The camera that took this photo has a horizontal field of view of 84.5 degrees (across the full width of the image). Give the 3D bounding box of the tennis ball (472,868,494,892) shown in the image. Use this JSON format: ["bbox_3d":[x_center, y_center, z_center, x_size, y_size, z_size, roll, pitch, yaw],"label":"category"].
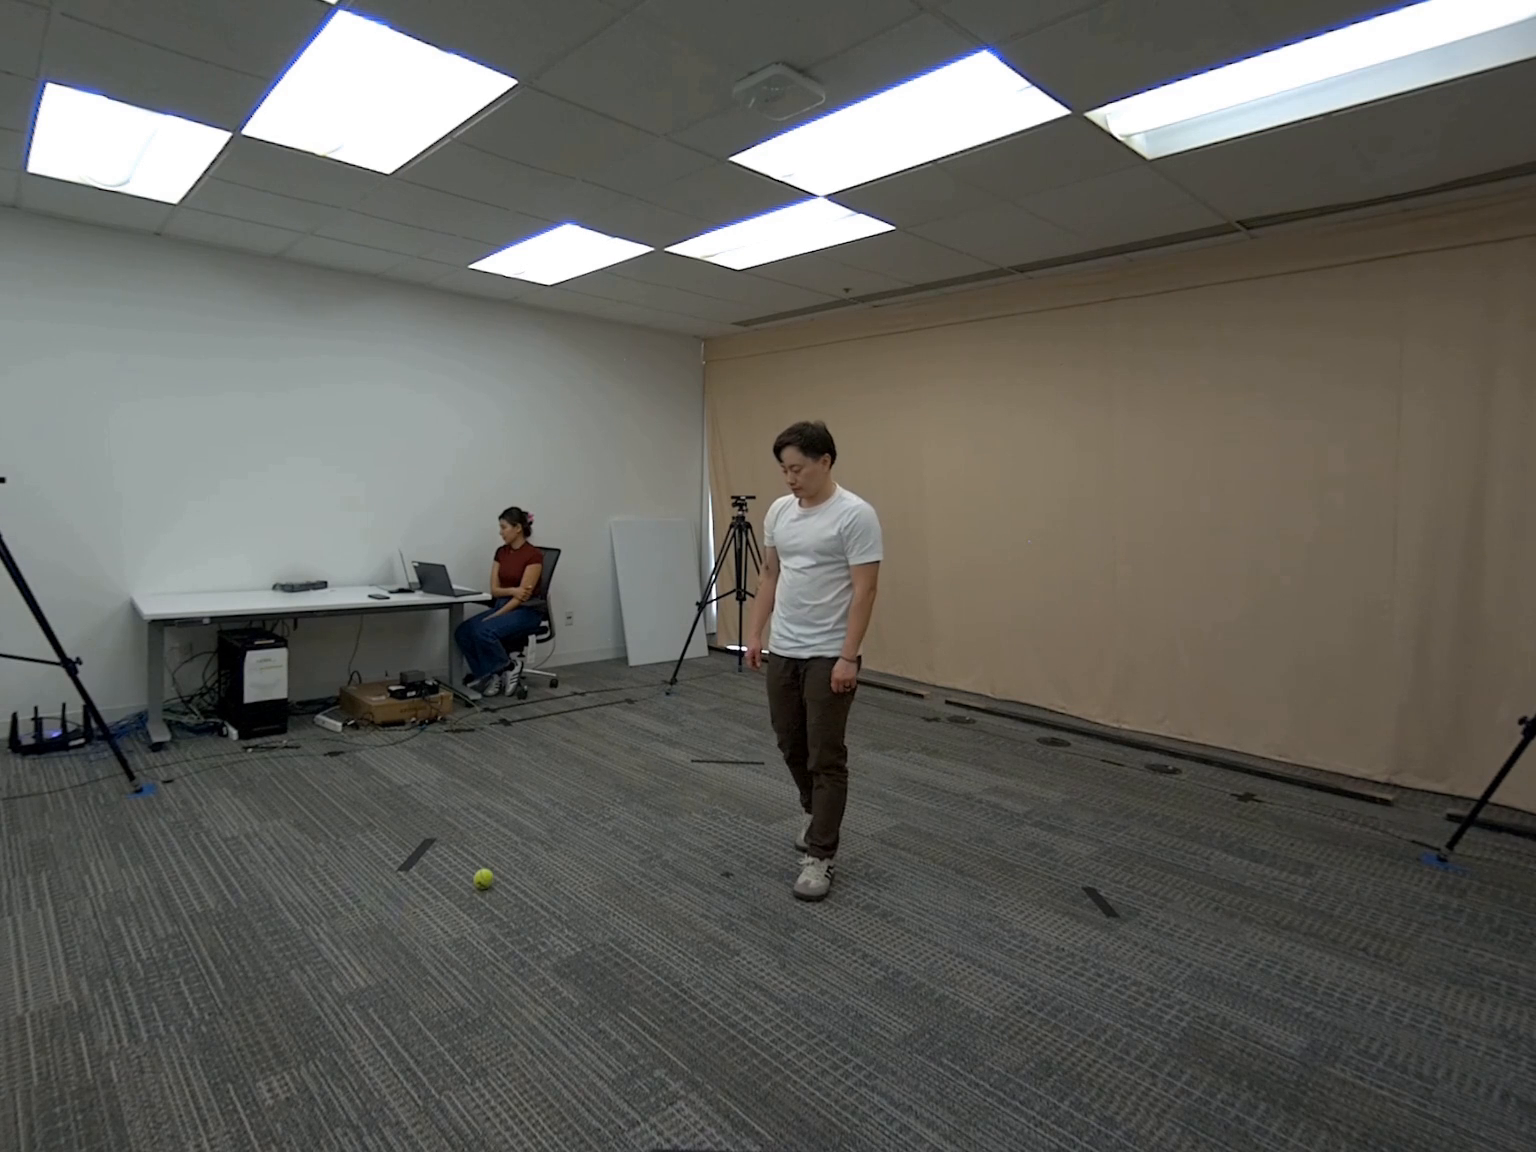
[{"bbox_3d":[-1.010,1.057,2.952,0.066,0.066,0.067,1,4,-1],"label":"tennis ball"}]
